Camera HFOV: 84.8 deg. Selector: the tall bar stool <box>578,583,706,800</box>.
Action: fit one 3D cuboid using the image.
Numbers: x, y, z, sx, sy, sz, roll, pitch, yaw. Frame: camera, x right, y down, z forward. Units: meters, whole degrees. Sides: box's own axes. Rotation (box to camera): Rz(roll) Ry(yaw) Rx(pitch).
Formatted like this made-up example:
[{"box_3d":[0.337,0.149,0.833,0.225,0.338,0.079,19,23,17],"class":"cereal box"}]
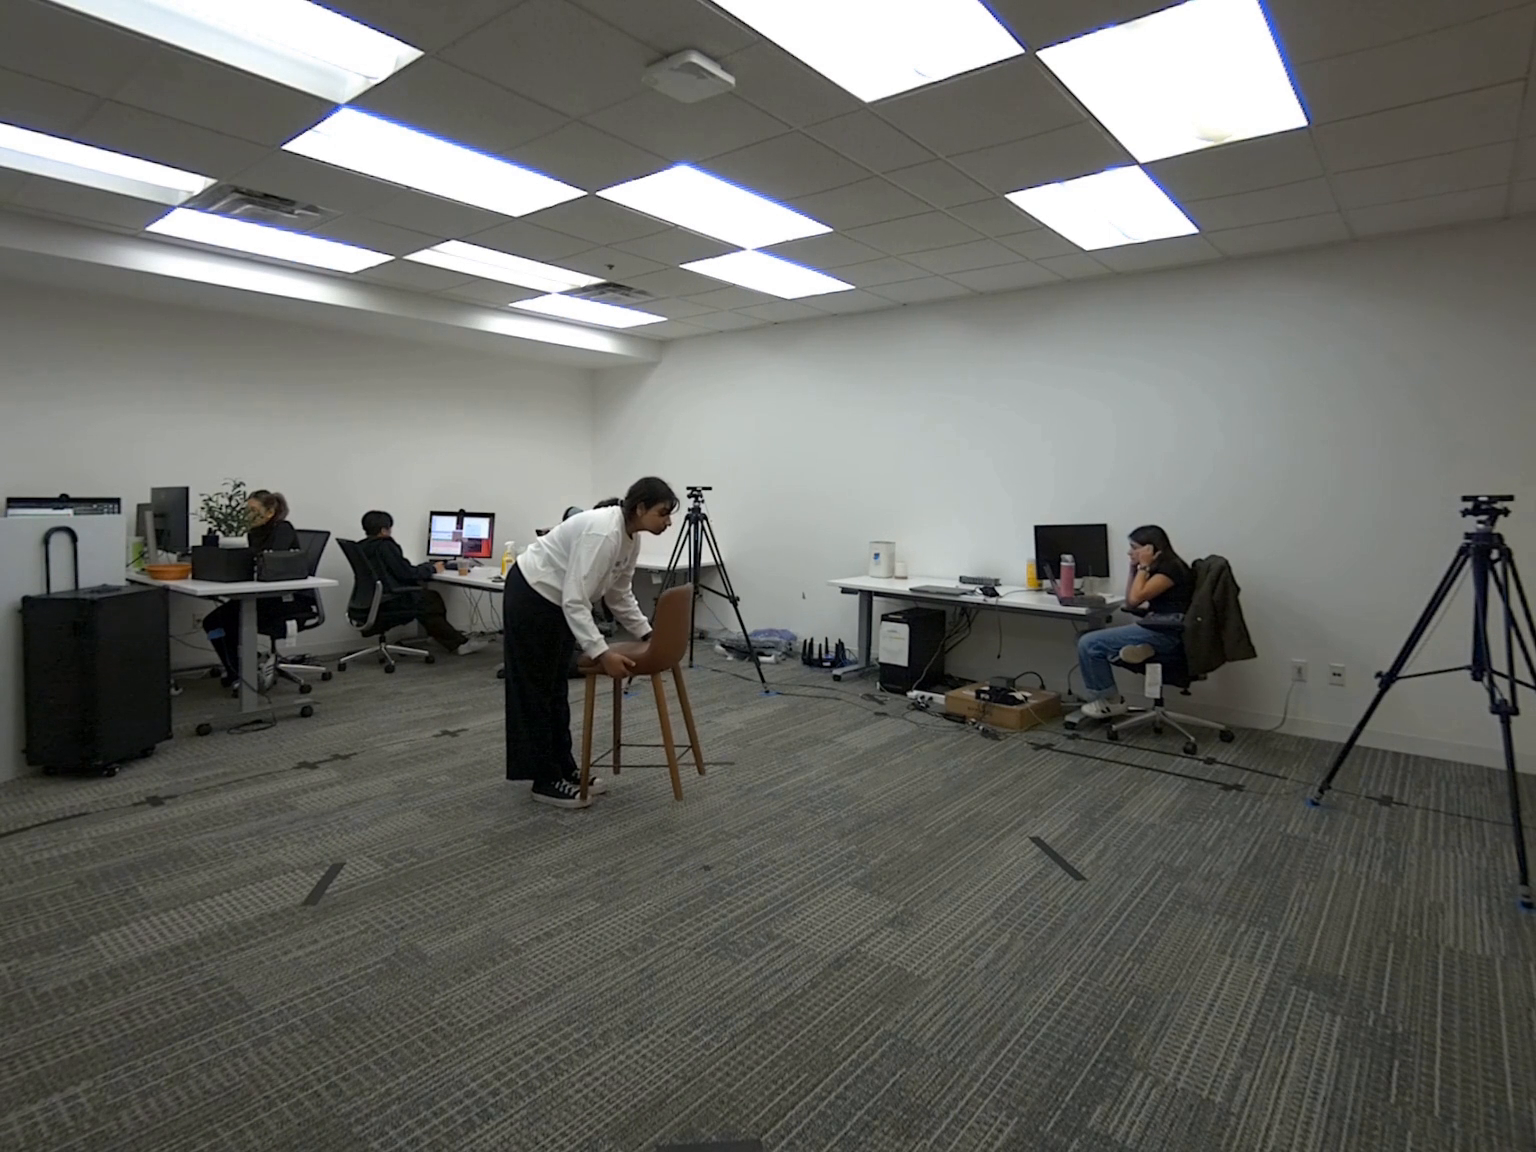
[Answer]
[{"box_3d":[-0.566,0.489,3.736,0.475,0.889,0.450,-2,1,15],"class":"tall bar stool"}]
